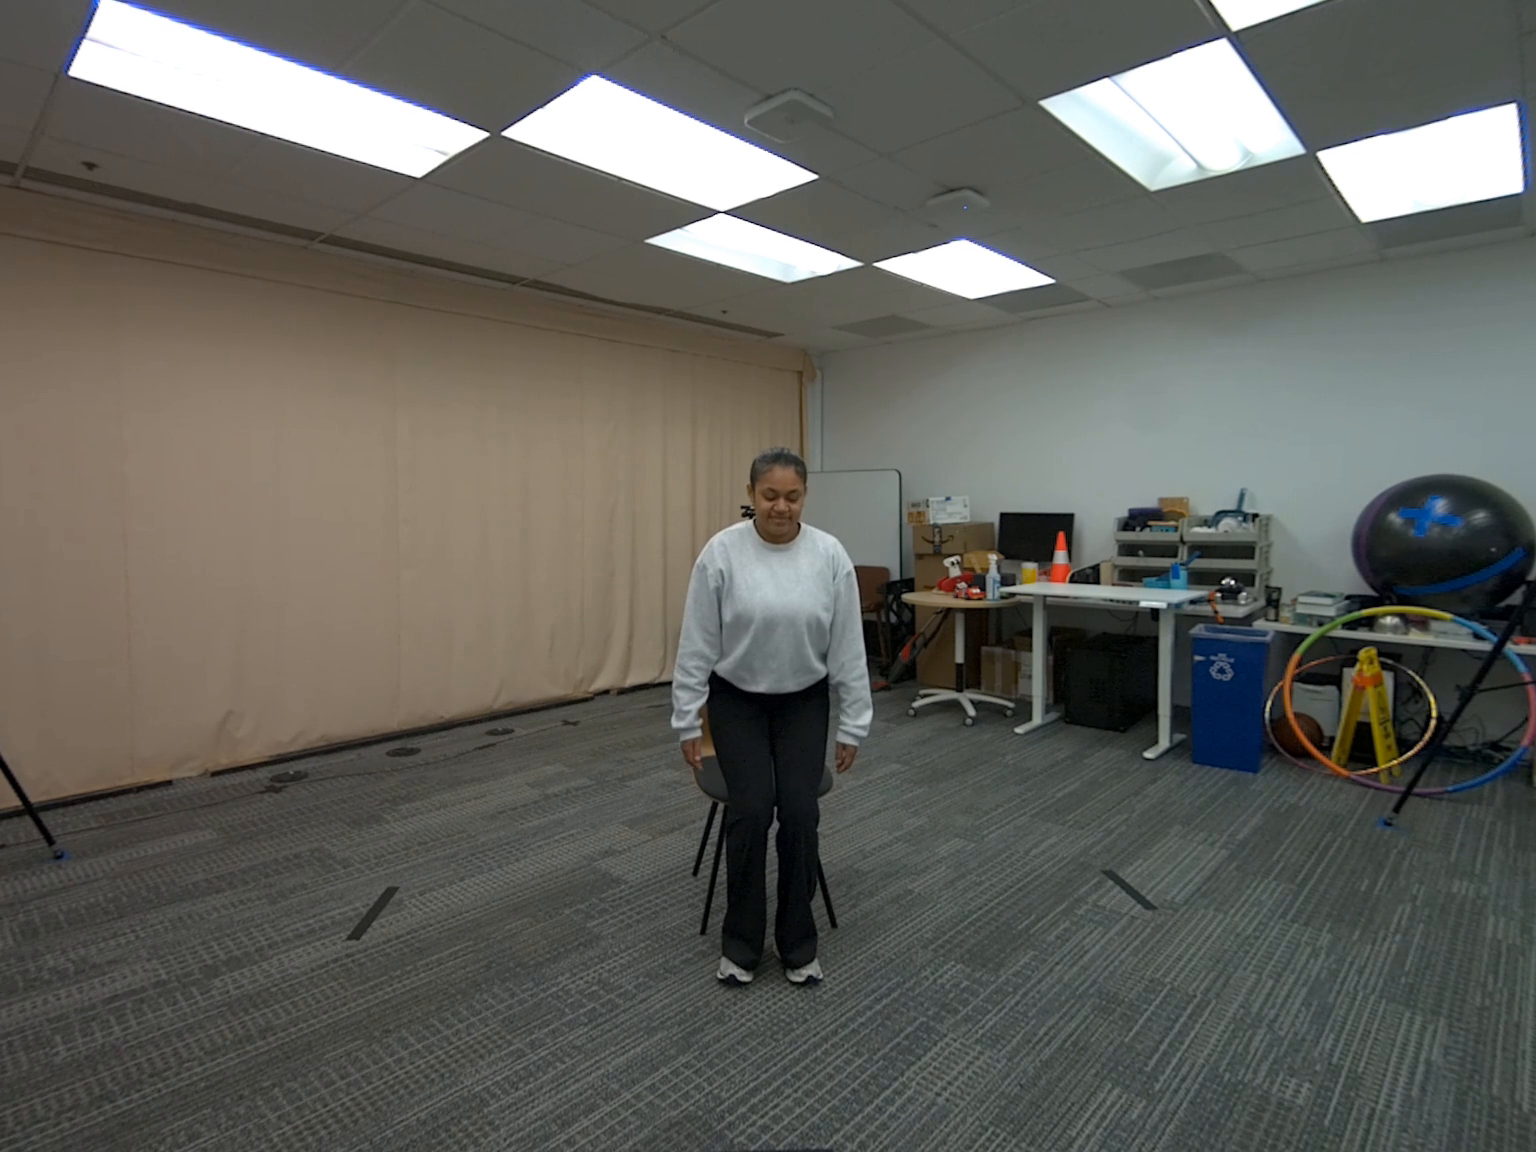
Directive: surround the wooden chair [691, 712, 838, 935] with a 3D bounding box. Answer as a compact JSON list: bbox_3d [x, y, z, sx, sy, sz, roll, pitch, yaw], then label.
[{"bbox_3d":[-0.025,0.715,2.937,0.475,0.878,0.527,0,-1,-8],"label":"wooden chair"}]
